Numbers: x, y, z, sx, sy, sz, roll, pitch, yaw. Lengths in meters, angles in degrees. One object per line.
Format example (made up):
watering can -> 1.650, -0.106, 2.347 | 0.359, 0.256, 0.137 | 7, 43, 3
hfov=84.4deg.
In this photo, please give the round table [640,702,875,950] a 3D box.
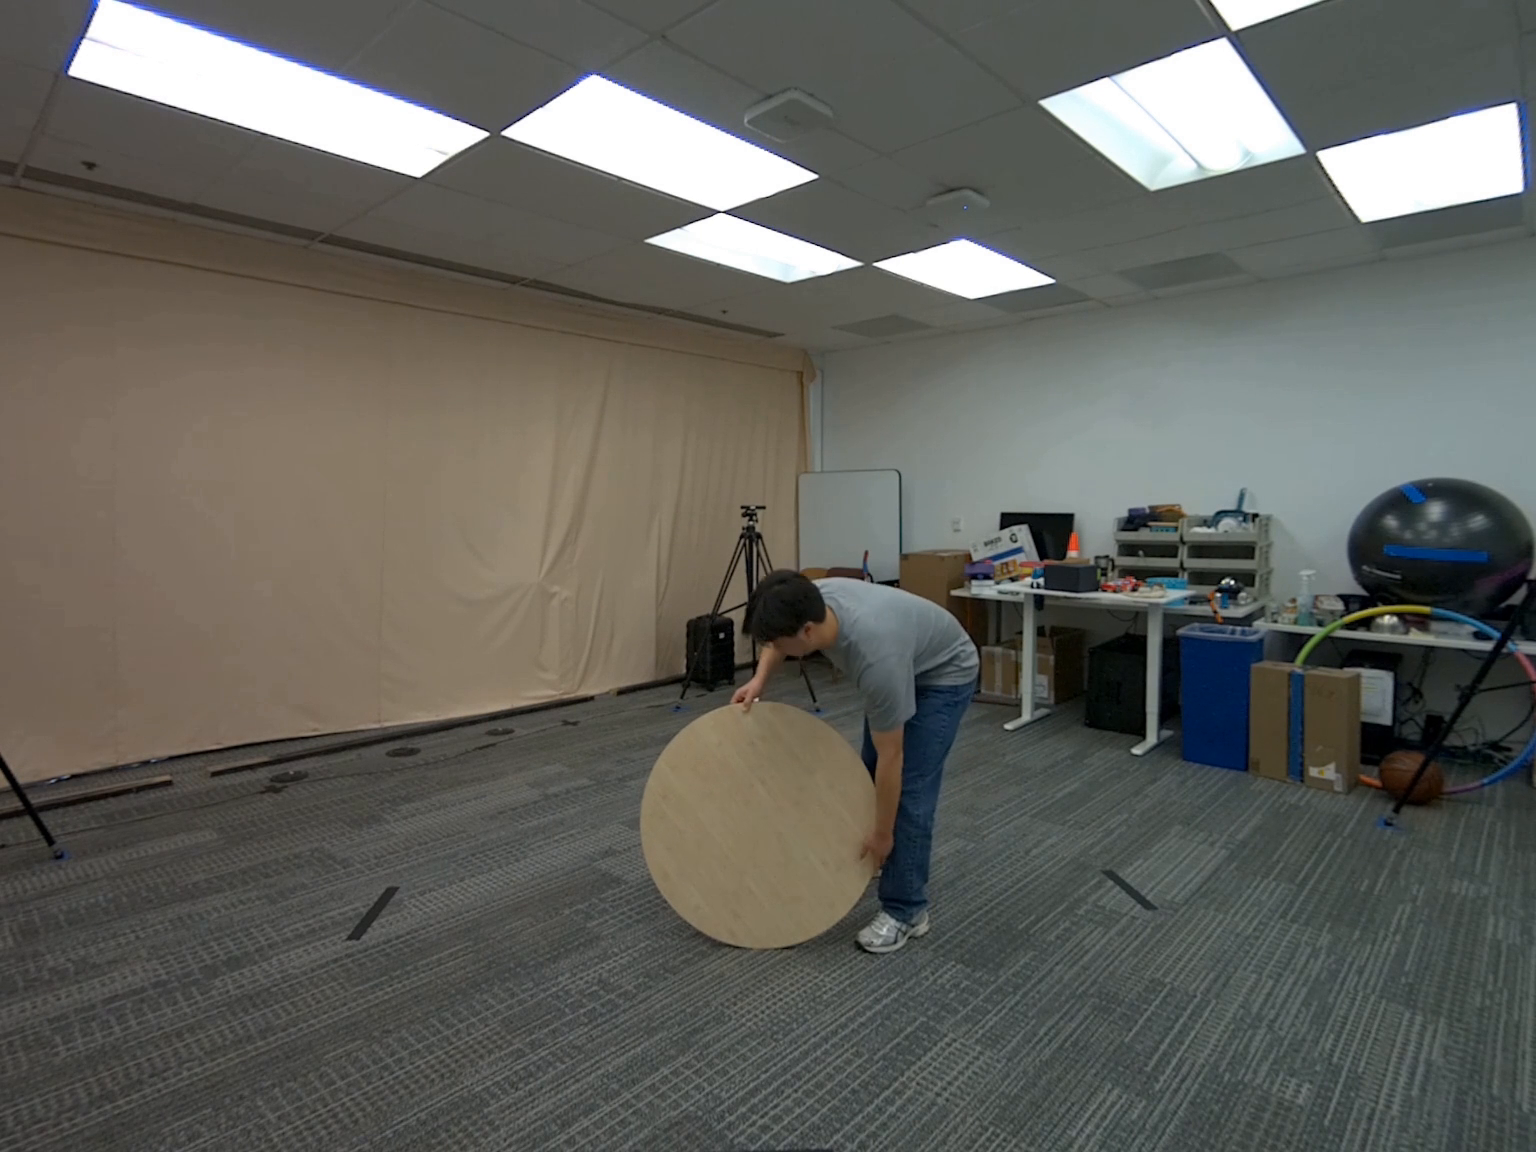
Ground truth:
round table -> -0.033, 0.809, 3.061 | 0.766, 0.765, 0.791 | 0, -2, 1
